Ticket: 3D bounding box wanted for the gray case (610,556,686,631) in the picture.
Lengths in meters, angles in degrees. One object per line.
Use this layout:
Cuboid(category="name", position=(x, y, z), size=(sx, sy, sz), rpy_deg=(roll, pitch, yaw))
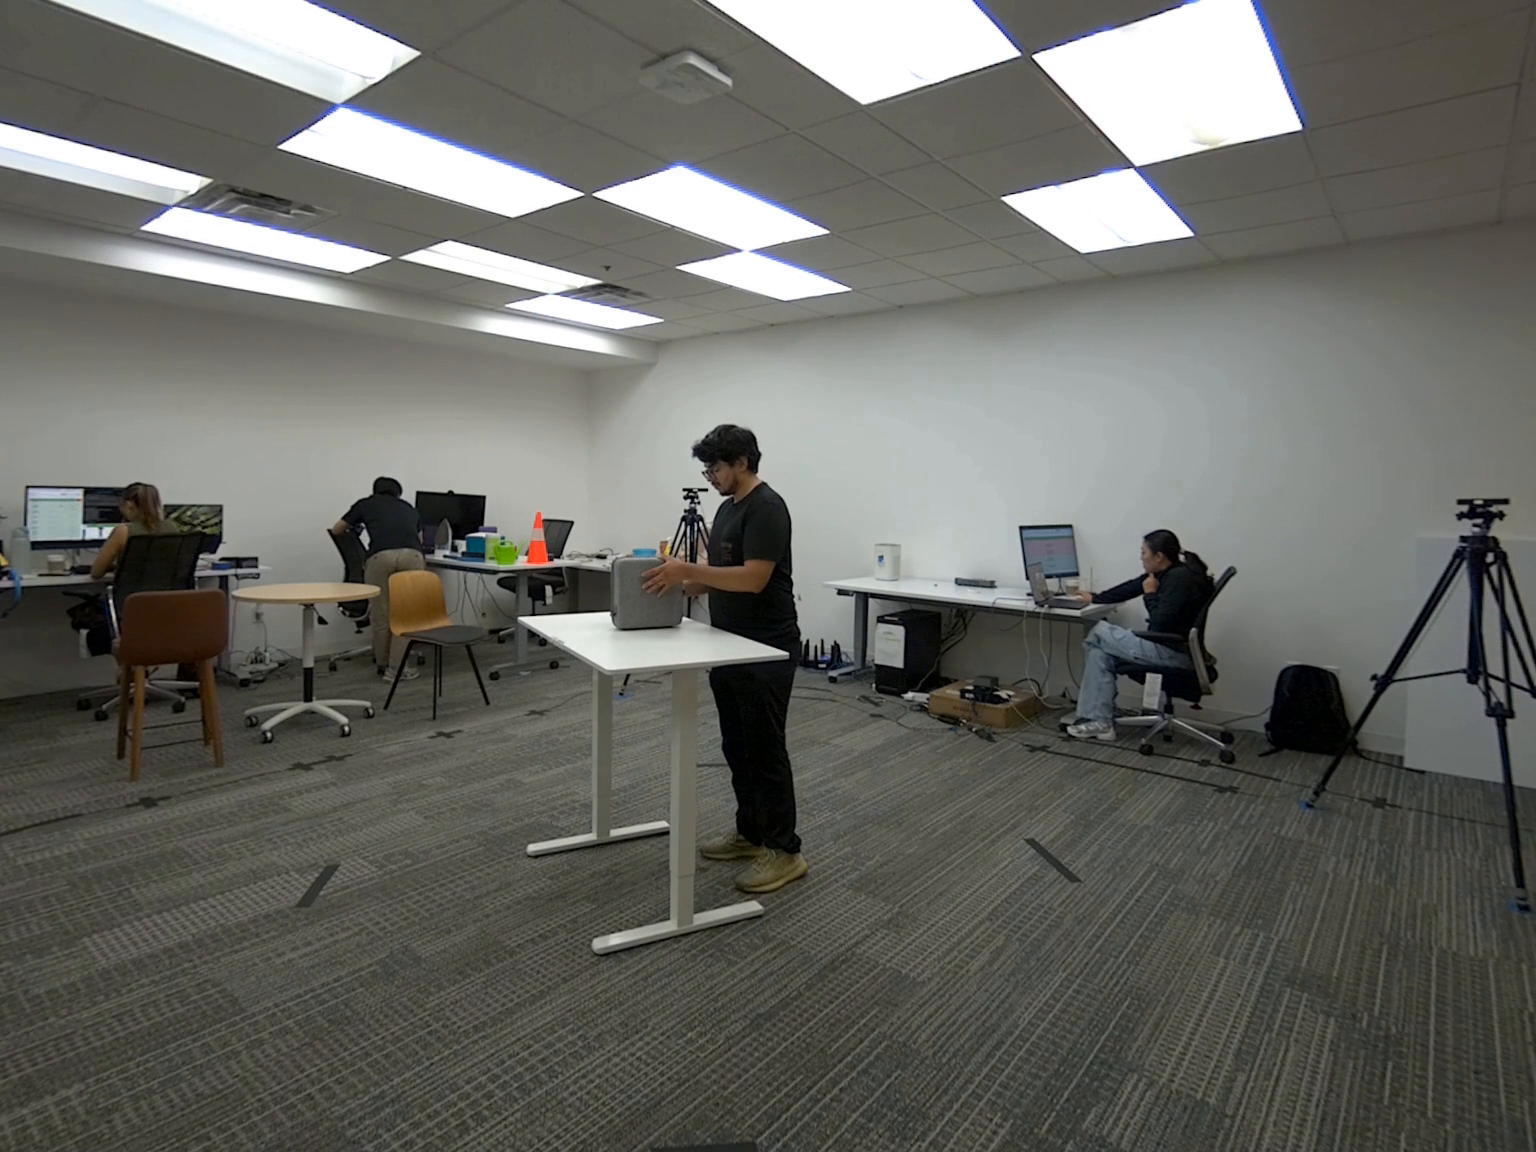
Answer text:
Cuboid(category="gray case", position=(-0.448, 0.053, 3.074), size=(0.251, 0.260, 0.107), rpy_deg=(-3, 2, -23))
